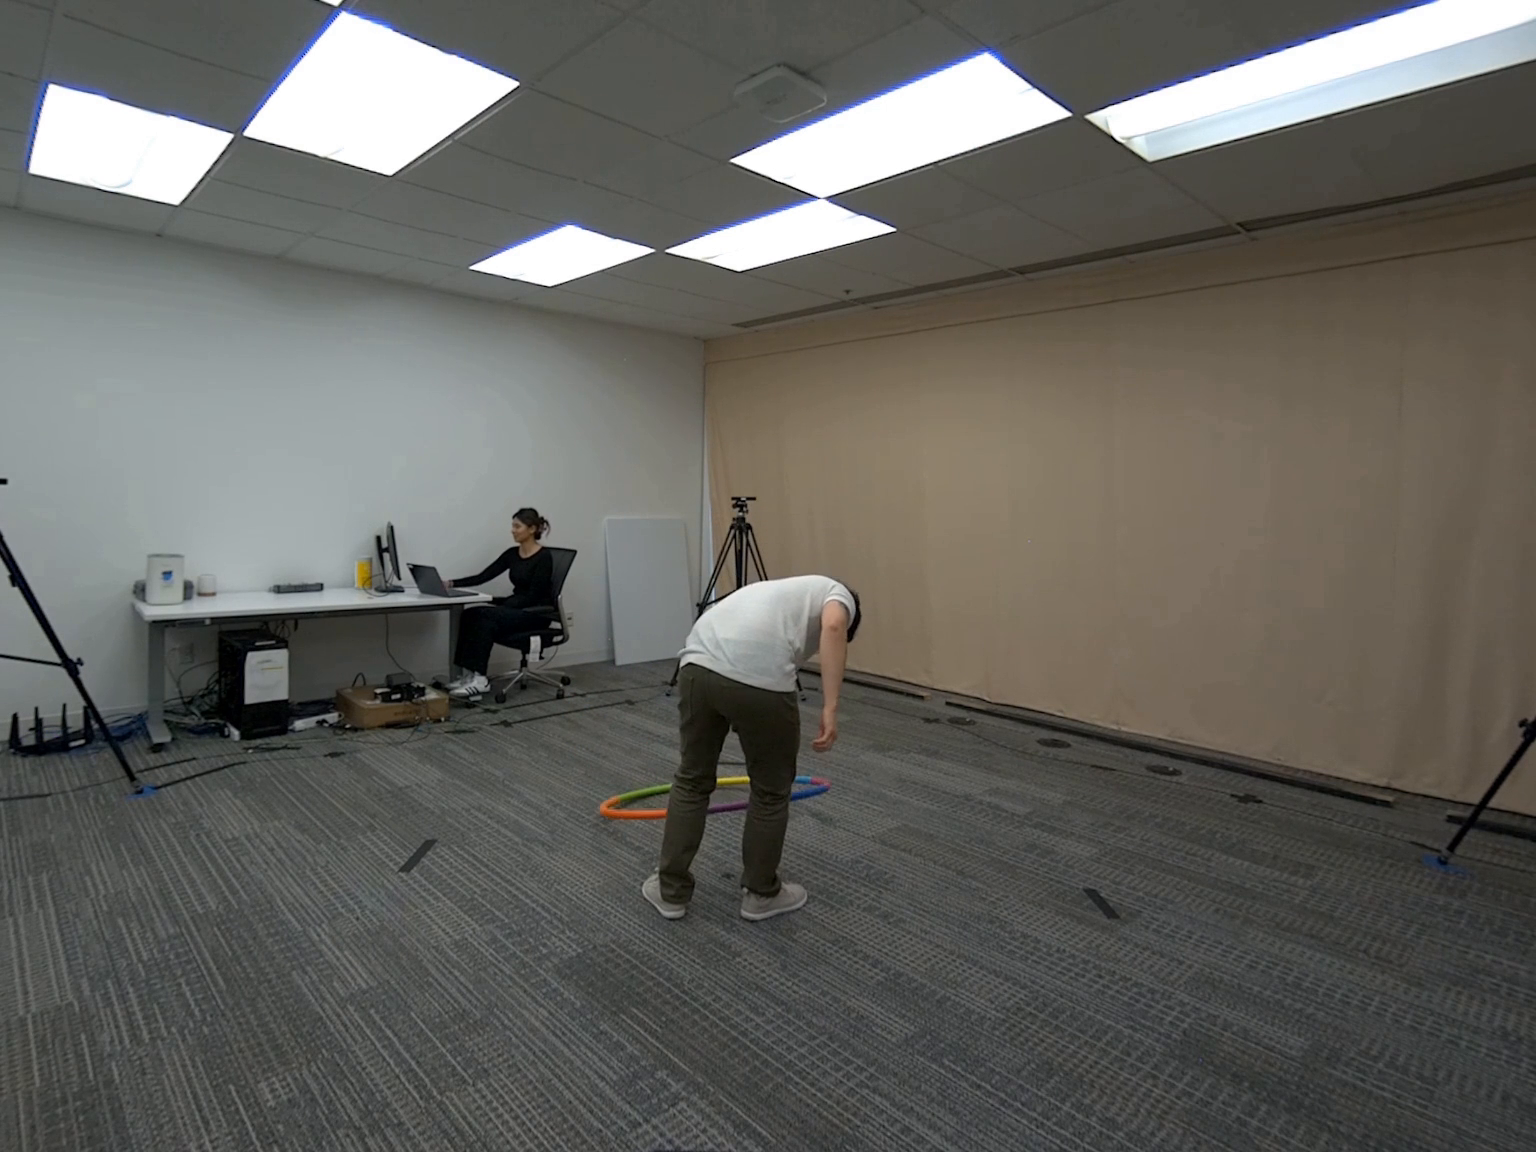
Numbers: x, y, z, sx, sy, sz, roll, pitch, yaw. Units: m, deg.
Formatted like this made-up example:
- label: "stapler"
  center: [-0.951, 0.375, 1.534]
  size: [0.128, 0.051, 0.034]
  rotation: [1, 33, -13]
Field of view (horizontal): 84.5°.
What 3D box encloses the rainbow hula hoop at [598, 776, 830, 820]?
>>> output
- label: "rainbow hula hoop"
  center: [-0.230, 0.929, 3.591]
  size: [0.977, 0.036, 0.973]
  rotation: [-6, -7, -2]
